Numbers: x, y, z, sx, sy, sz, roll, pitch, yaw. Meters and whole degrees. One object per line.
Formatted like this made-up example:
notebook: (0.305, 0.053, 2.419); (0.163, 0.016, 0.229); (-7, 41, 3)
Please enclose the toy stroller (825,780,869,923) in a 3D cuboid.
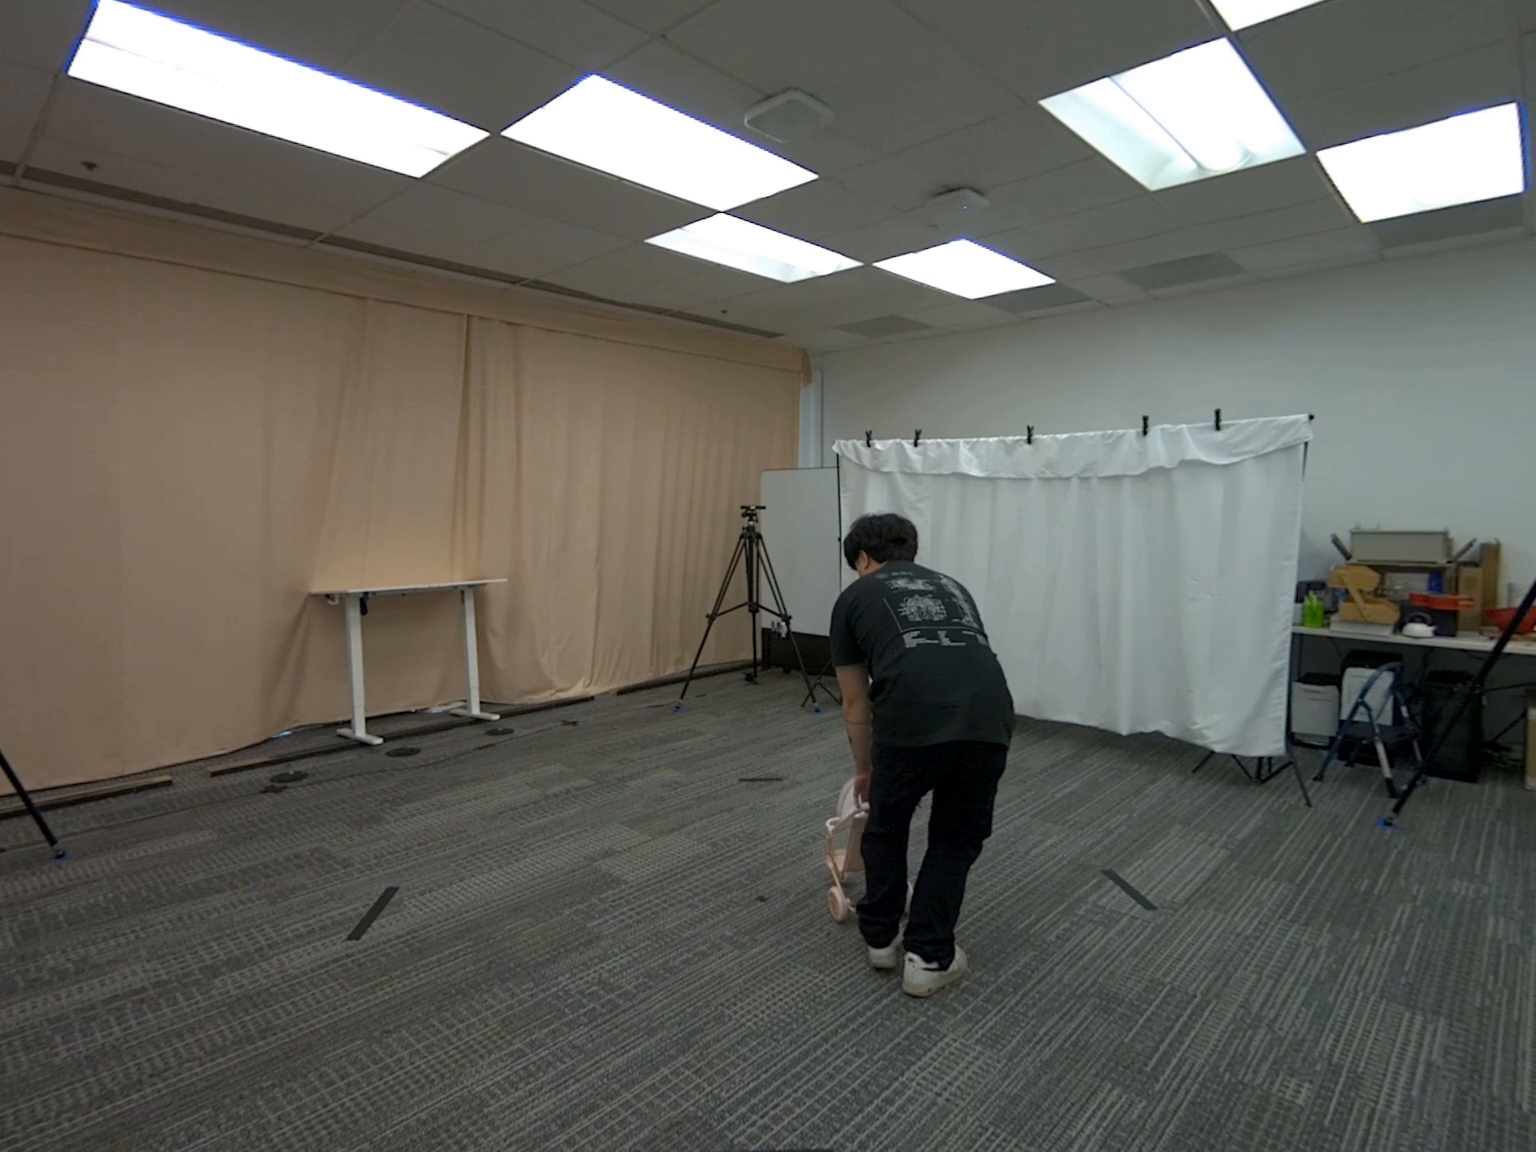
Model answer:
toy stroller: (0.335, 0.919, 2.913); (0.278, 0.530, 0.349); (0, 18, -12)
